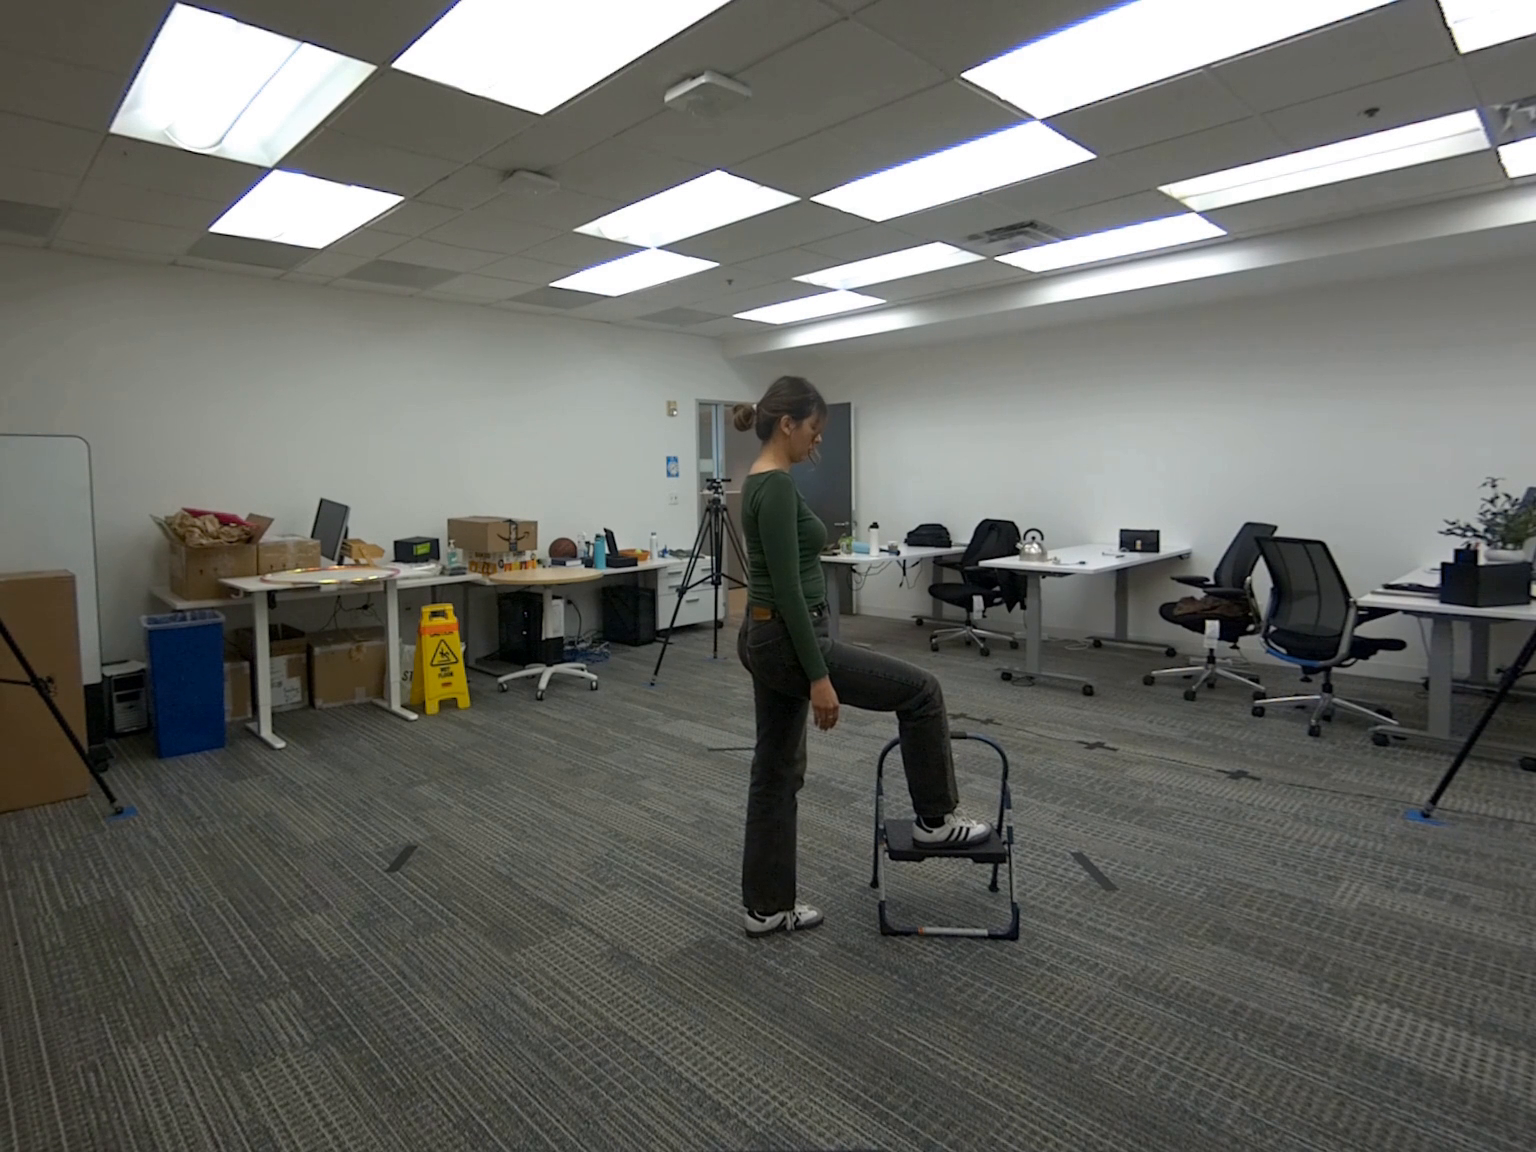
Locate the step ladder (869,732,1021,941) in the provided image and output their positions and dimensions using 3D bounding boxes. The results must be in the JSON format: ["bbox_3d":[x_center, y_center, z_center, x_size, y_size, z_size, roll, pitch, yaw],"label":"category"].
[{"bbox_3d":[0.557,0.780,2.731,0.433,0.604,0.349,0,3,4],"label":"step ladder"}]
